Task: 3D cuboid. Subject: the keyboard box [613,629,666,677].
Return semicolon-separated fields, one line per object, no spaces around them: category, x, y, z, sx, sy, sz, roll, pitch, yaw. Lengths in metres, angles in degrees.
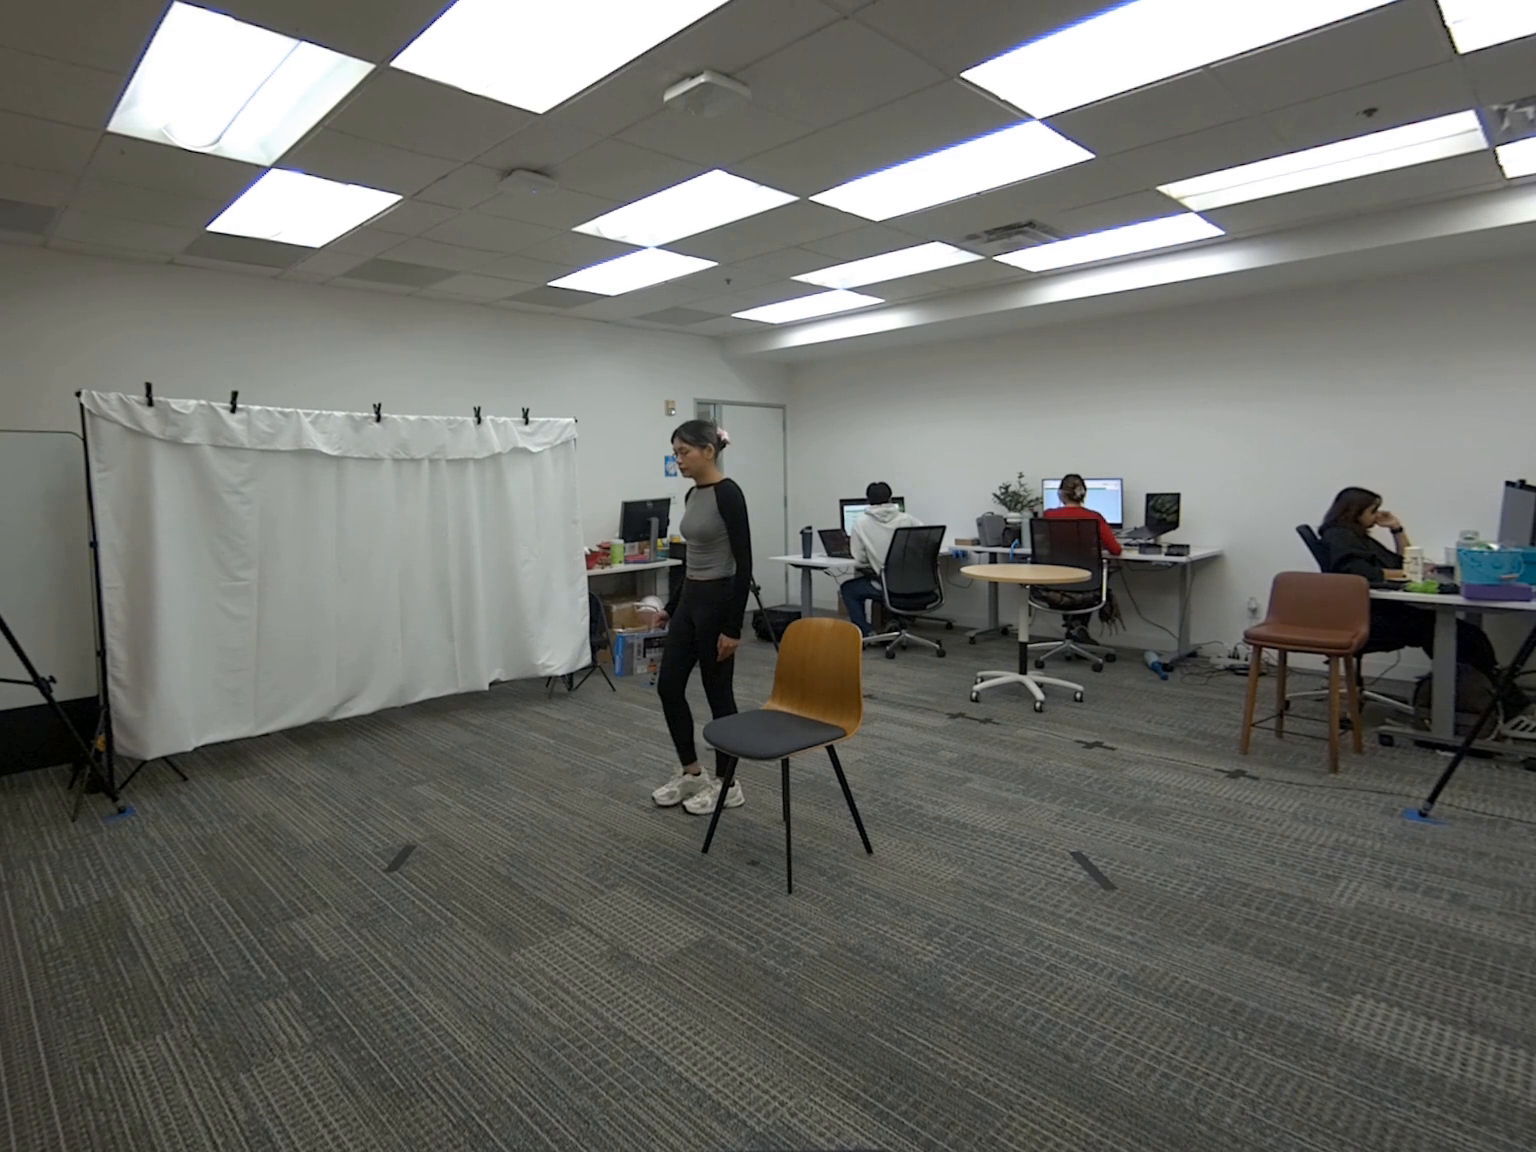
keyboard box;-0.467;0.330;3.716;0.424;0.176;0.061;-2;3;-44
